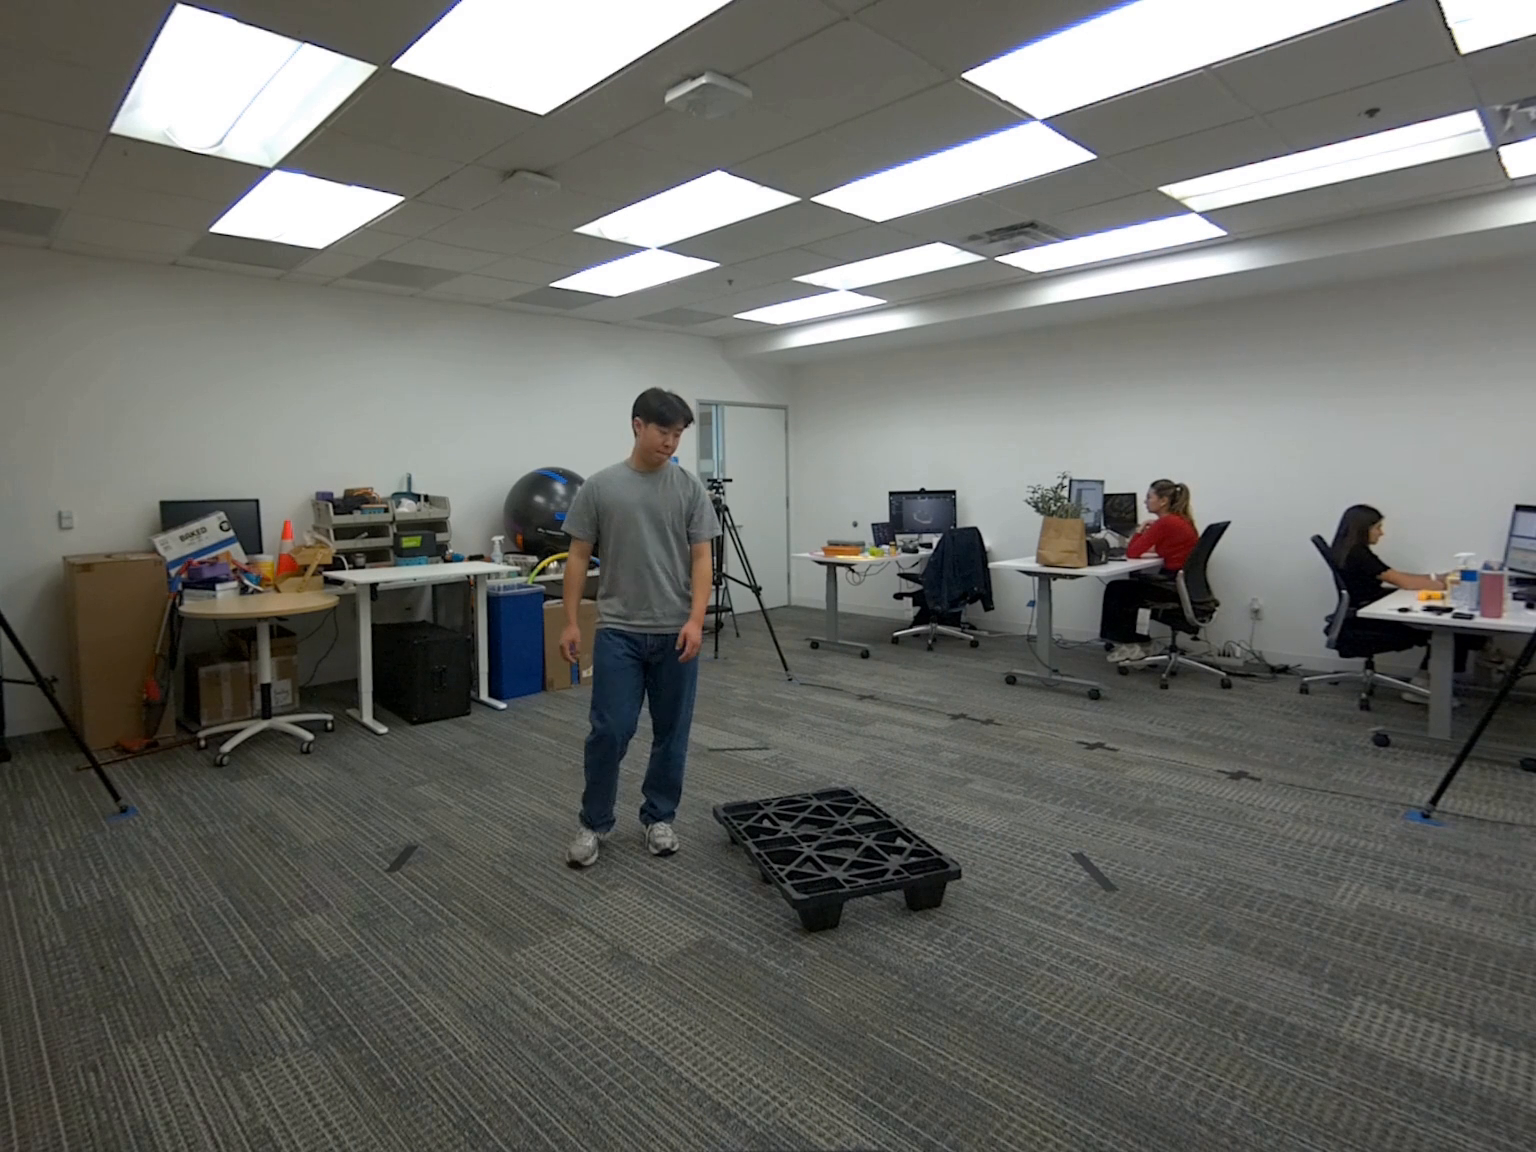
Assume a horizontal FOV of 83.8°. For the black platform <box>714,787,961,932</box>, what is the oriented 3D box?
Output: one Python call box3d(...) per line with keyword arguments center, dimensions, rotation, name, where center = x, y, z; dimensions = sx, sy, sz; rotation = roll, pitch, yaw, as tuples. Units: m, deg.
box3d(center=(0.207, 0.981, 3.030), dimensions=(0.595, 0.142, 0.823), rotation=(-4, 7, -20), name="black platform")
